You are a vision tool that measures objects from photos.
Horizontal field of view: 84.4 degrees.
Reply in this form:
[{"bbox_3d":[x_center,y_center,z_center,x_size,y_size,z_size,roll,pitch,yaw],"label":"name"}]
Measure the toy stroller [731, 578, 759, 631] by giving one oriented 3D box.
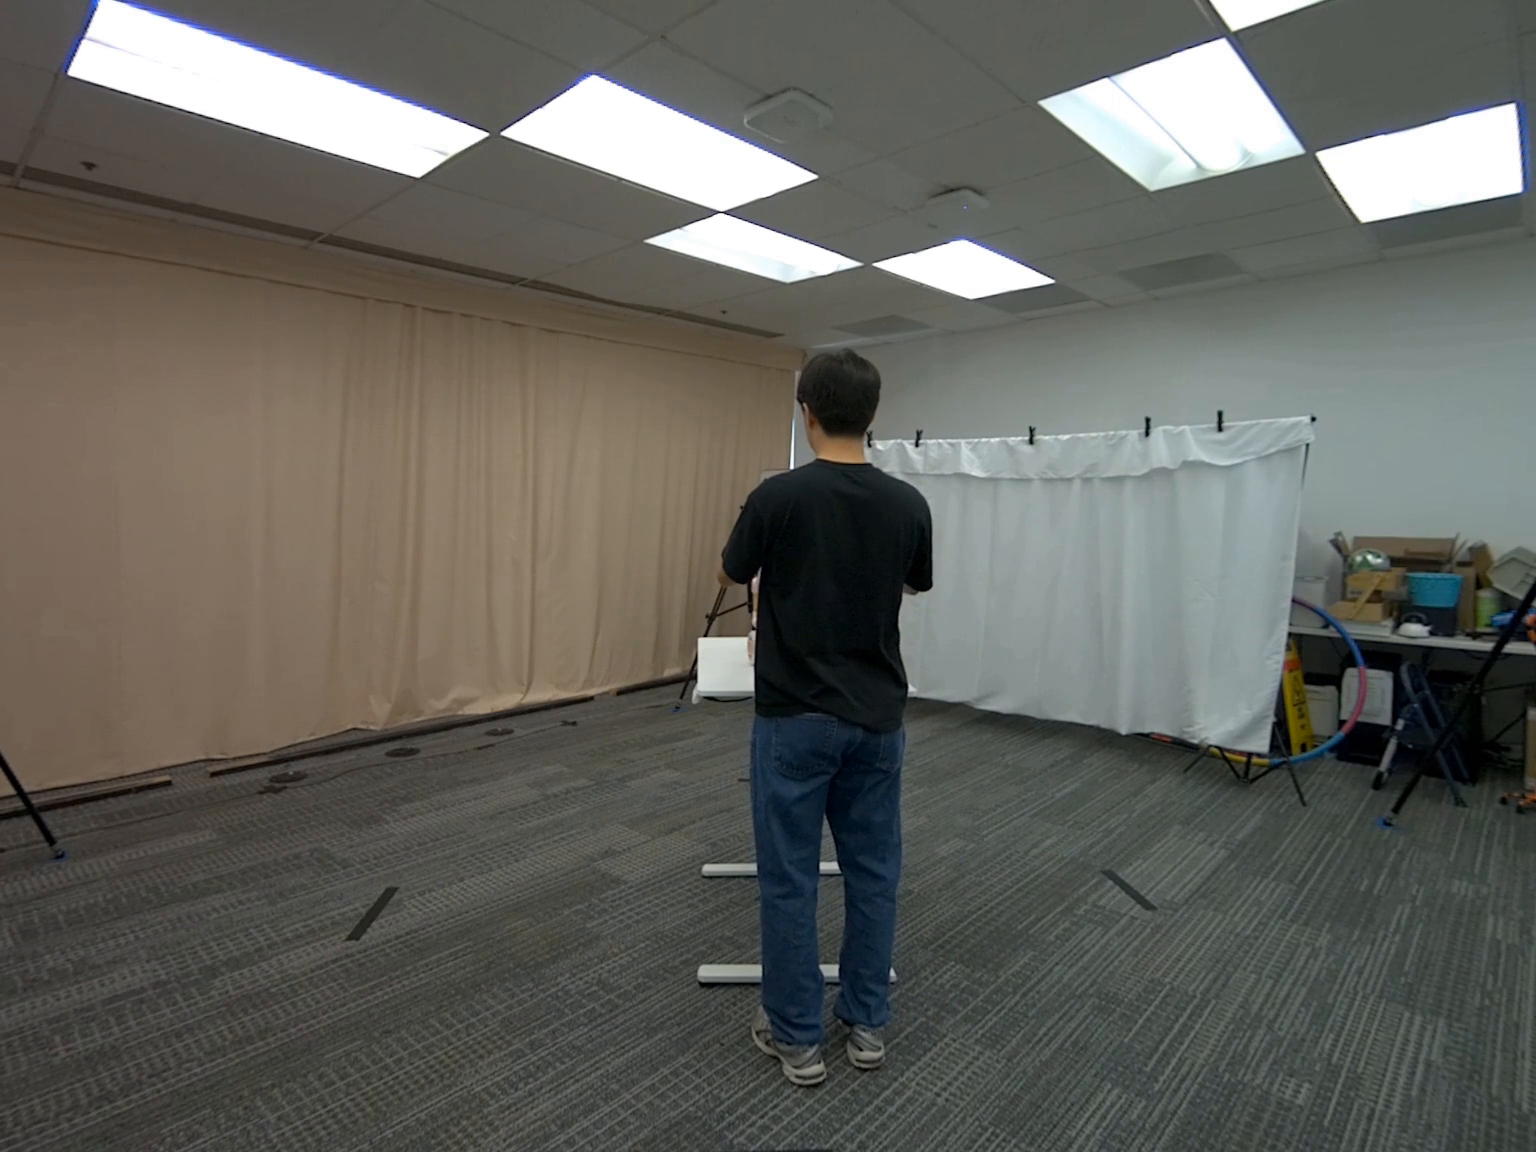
[{"bbox_3d":[0.077,0.058,2.739,0.280,0.529,0.347,1,19,-7],"label":"toy stroller"}]
